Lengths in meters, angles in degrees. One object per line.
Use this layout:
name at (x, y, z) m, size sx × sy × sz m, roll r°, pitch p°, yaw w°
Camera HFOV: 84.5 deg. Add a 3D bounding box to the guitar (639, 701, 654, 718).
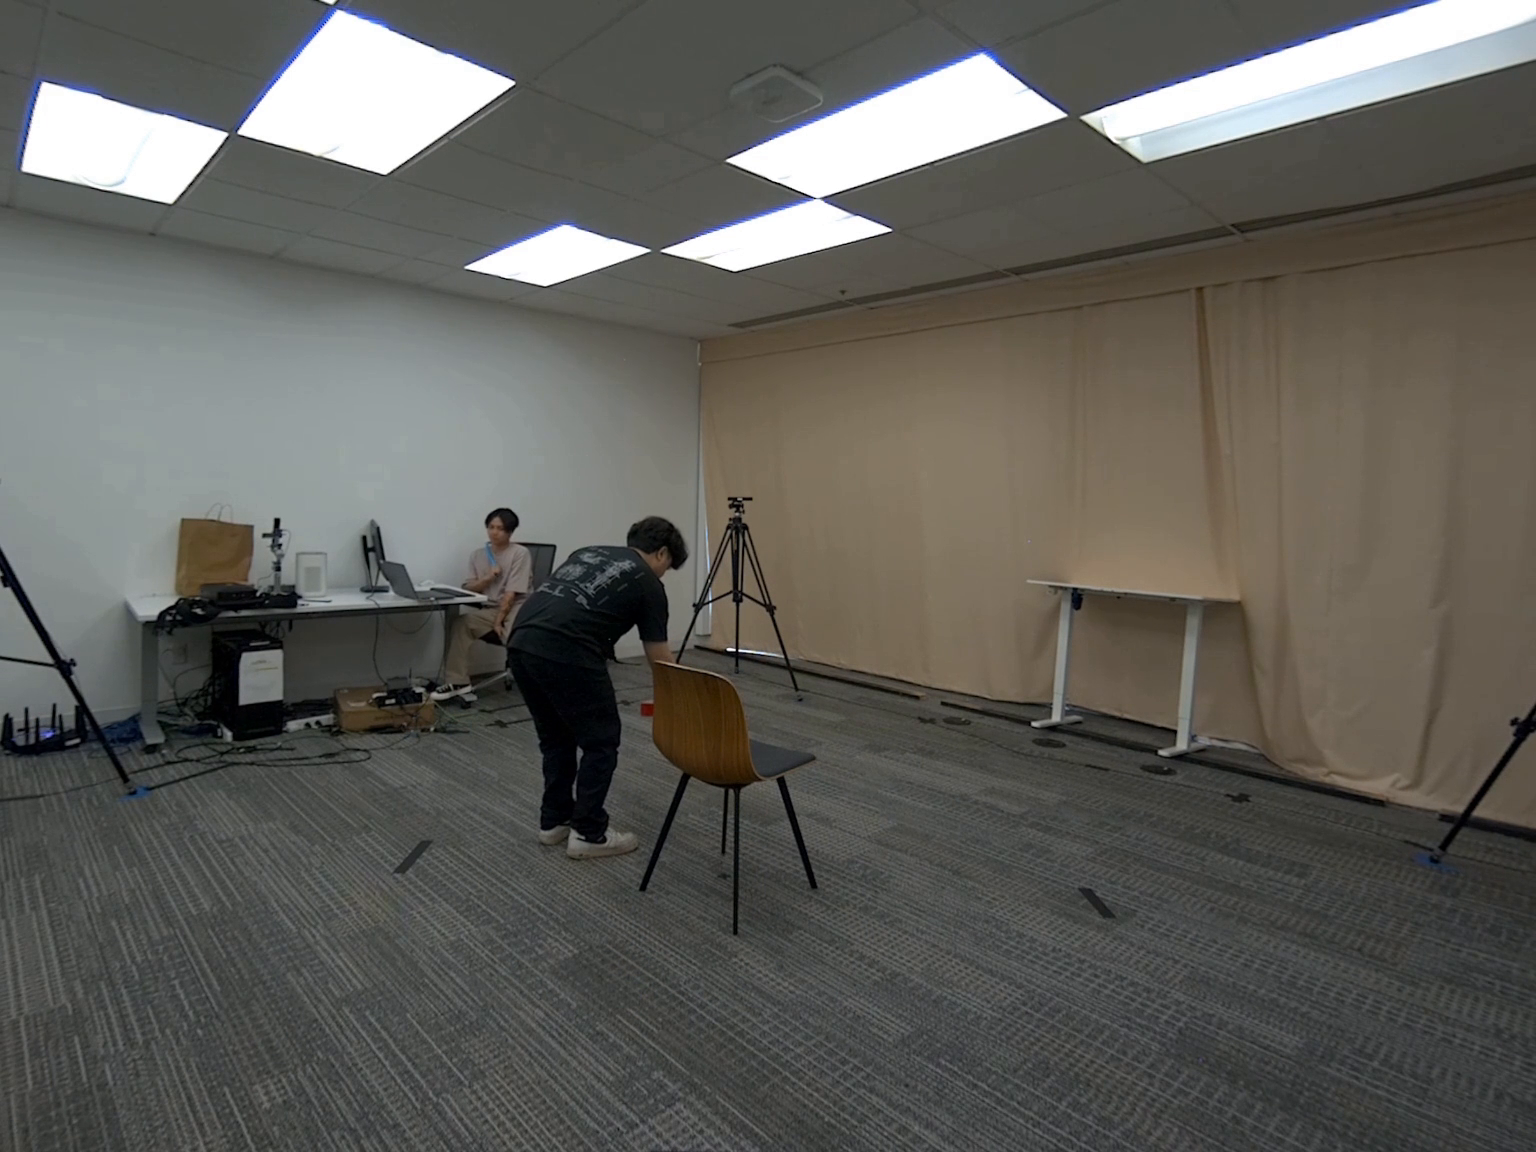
guitar at (-0.371, 0.576, 3.603) m, size 0.188 × 0.071 × 0.508 m, roll 1°, pitch -4°, yaw -37°
